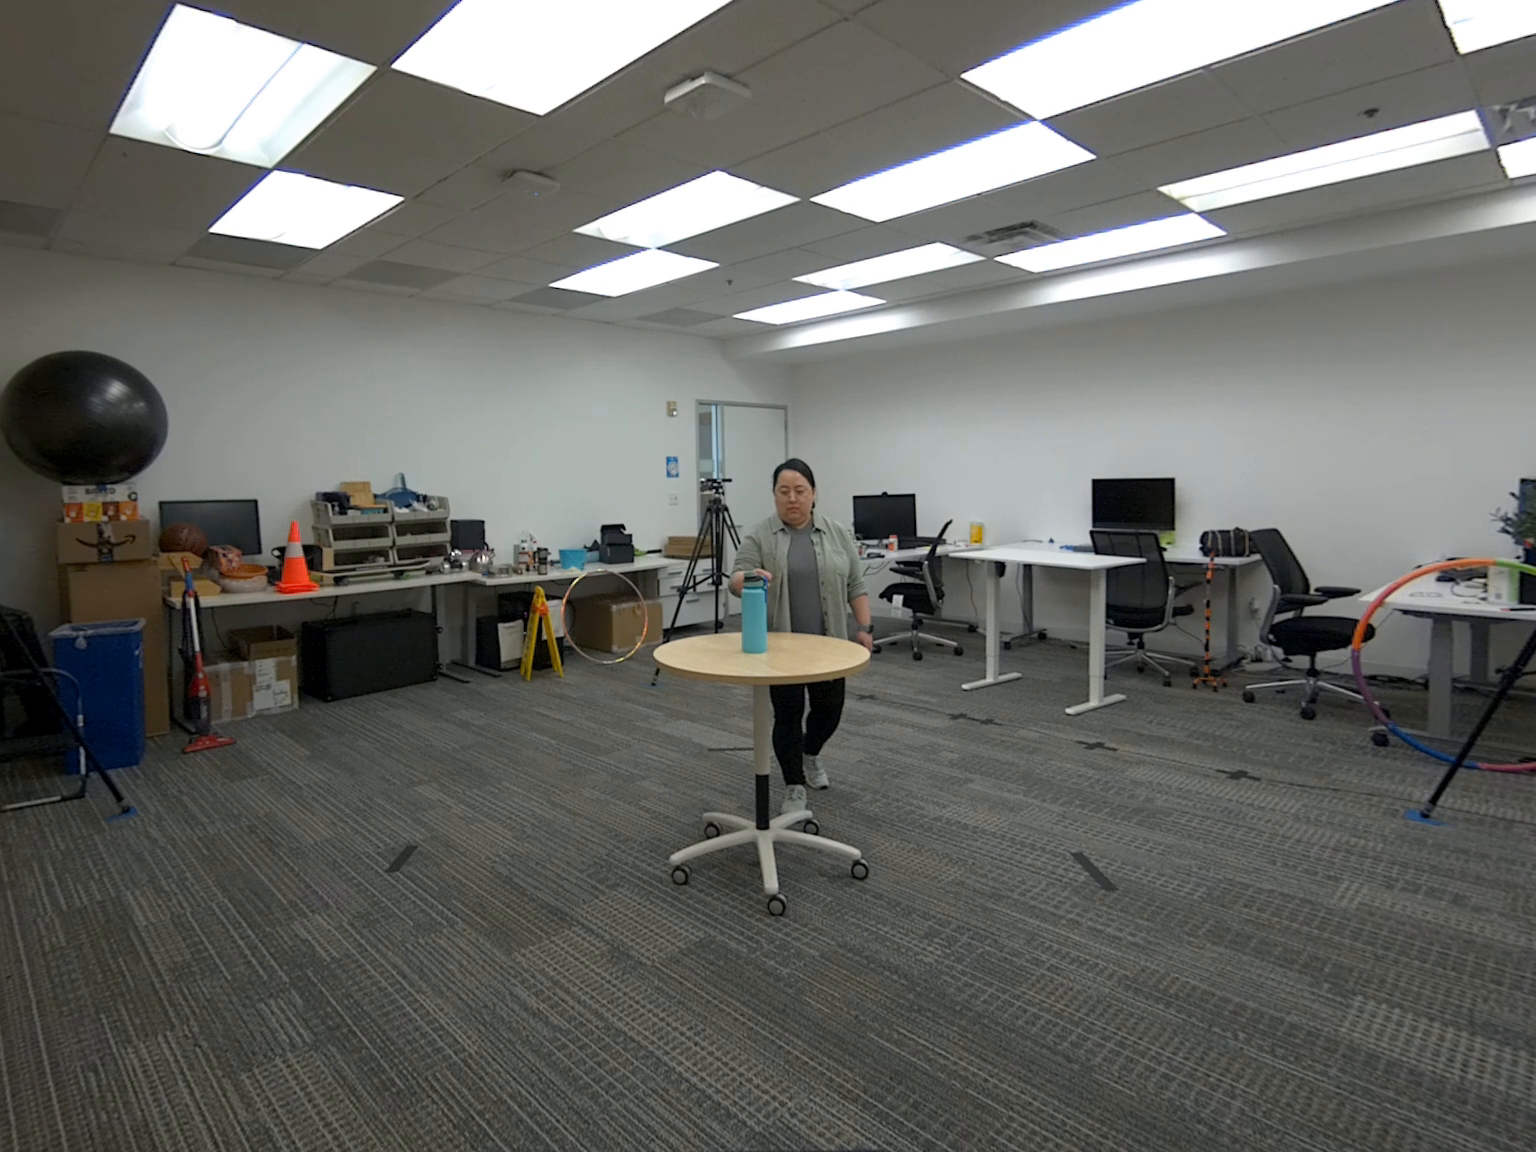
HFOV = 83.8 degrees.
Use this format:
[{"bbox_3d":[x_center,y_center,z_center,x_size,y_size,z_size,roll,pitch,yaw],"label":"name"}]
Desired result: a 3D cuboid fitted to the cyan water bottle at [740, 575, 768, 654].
[{"bbox_3d":[-0.050,0.132,3.039,0.092,0.282,0.093,1,4,-2],"label":"cyan water bottle"}]
